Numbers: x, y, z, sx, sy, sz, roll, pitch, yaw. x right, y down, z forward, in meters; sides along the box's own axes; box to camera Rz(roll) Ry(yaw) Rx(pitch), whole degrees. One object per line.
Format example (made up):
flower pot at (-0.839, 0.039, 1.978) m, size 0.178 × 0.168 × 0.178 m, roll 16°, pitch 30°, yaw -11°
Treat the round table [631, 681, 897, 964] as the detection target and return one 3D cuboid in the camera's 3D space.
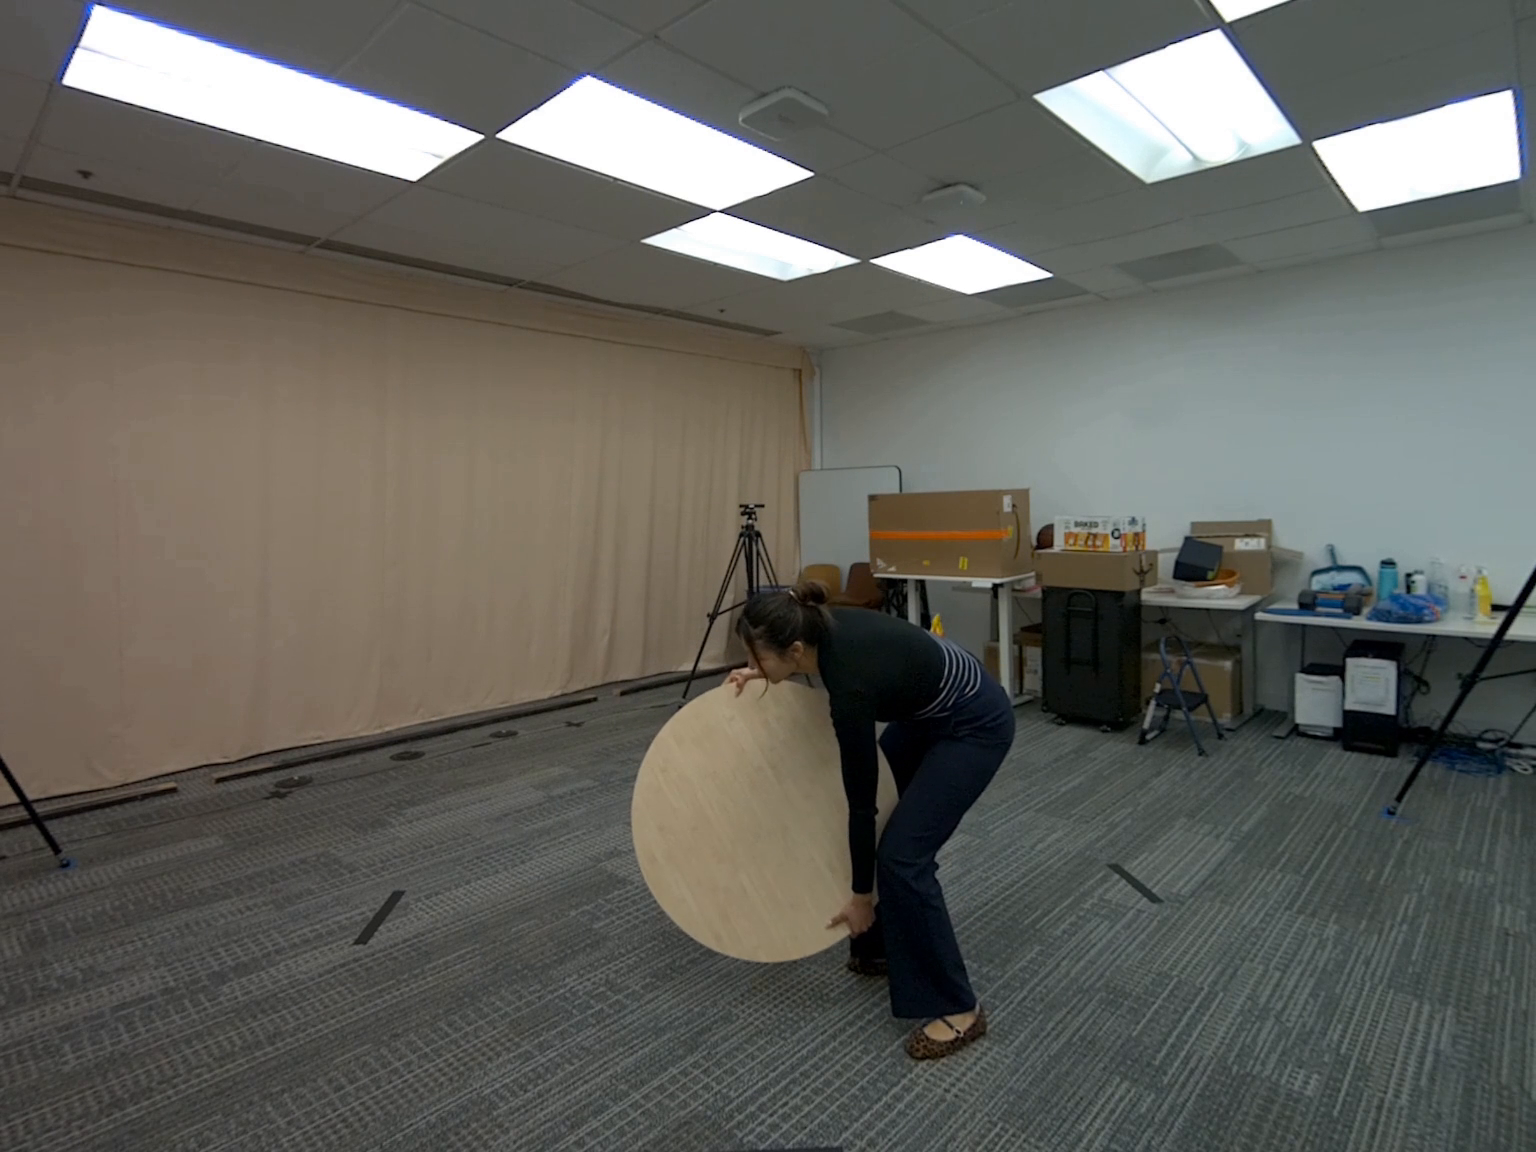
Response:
round table at (0.005, 0.775, 2.764) m, size 0.769 × 0.771 × 0.782 m, roll -1°, pitch -16°, yaw 4°
